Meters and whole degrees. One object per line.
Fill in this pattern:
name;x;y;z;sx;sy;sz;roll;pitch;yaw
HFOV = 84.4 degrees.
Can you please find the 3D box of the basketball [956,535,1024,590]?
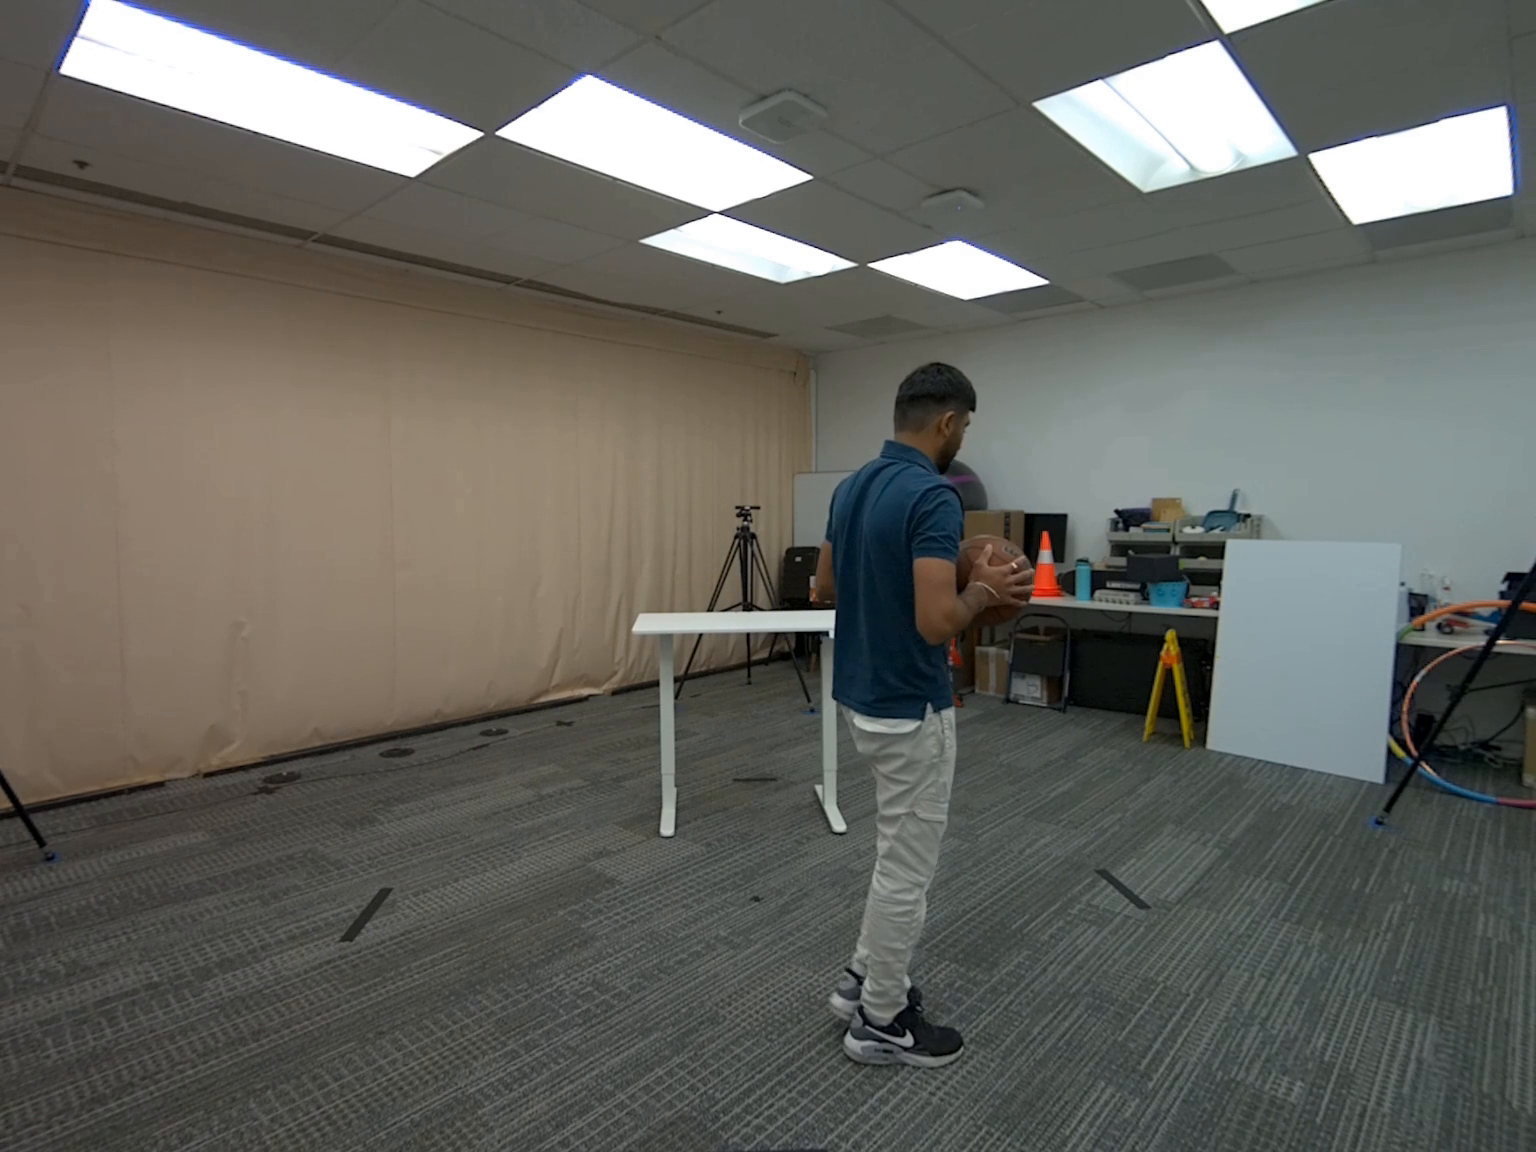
basketball;0.580;0.014;2.172;0.236;0.235;0.237;0;4;-2
